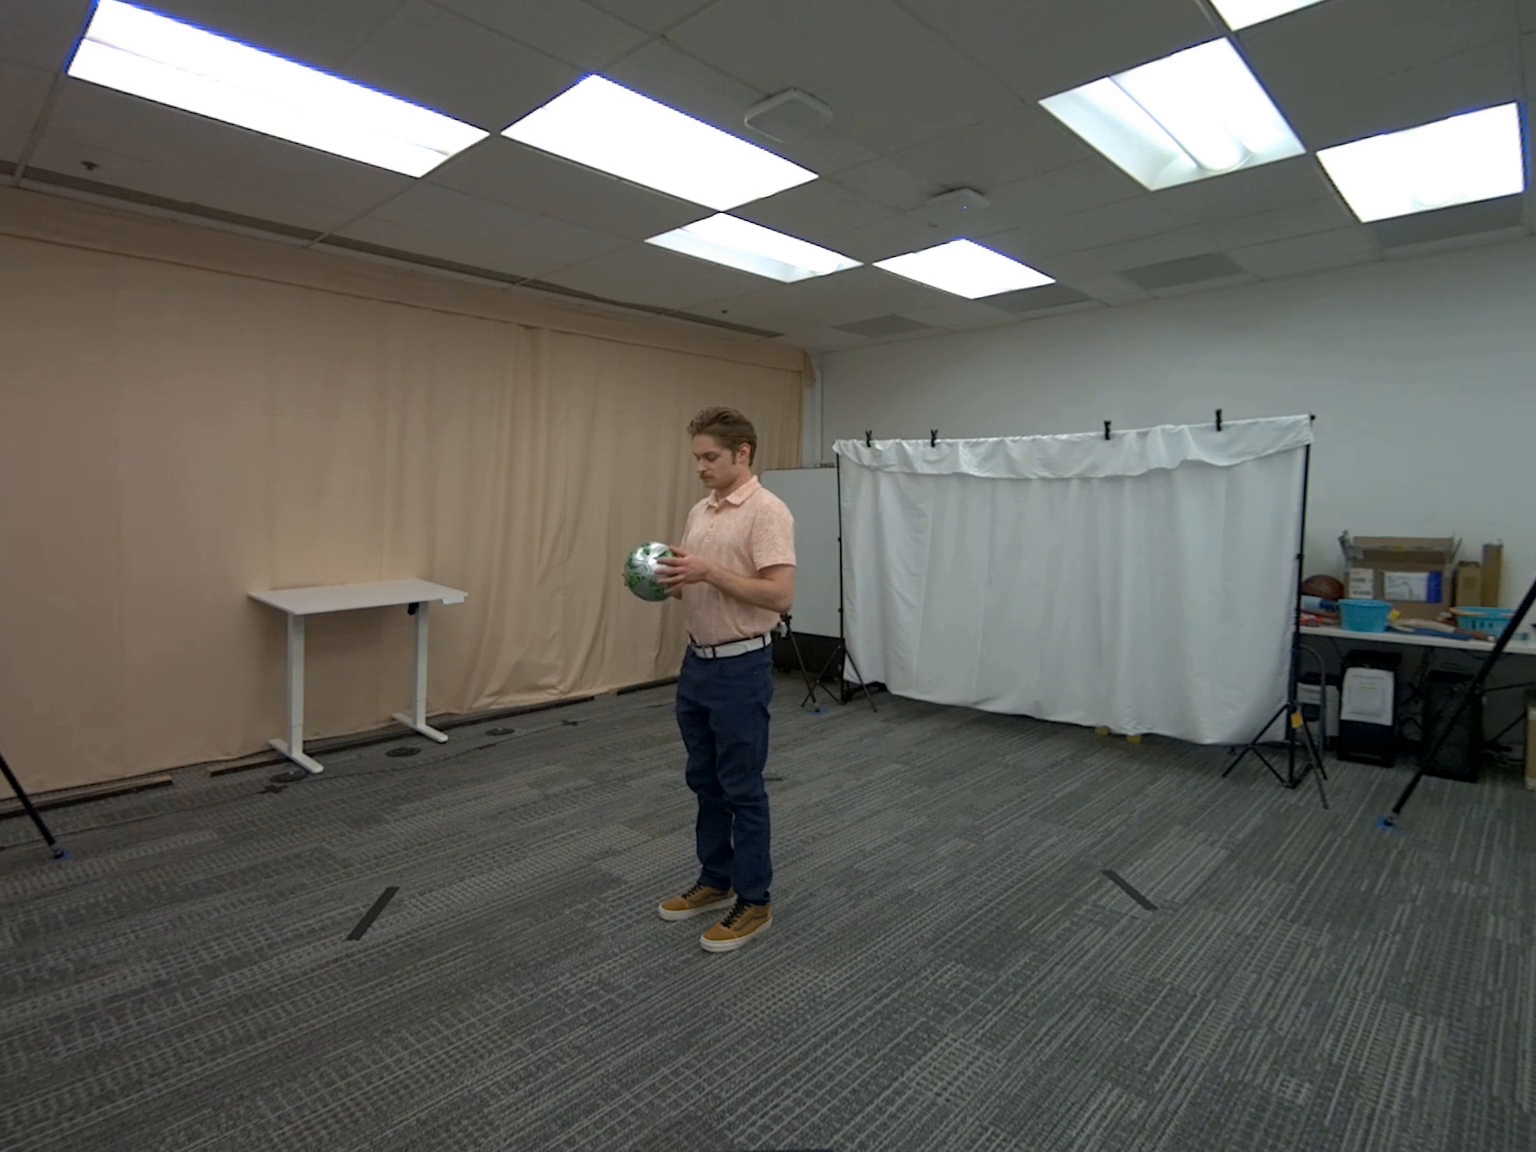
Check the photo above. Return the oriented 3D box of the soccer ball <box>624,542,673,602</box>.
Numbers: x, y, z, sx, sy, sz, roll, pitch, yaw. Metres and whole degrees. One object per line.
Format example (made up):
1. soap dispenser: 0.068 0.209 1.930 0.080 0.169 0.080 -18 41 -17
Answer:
1. soccer ball: -0.365 -0.020 2.638 0.187 0.187 0.188 0 4 -2
